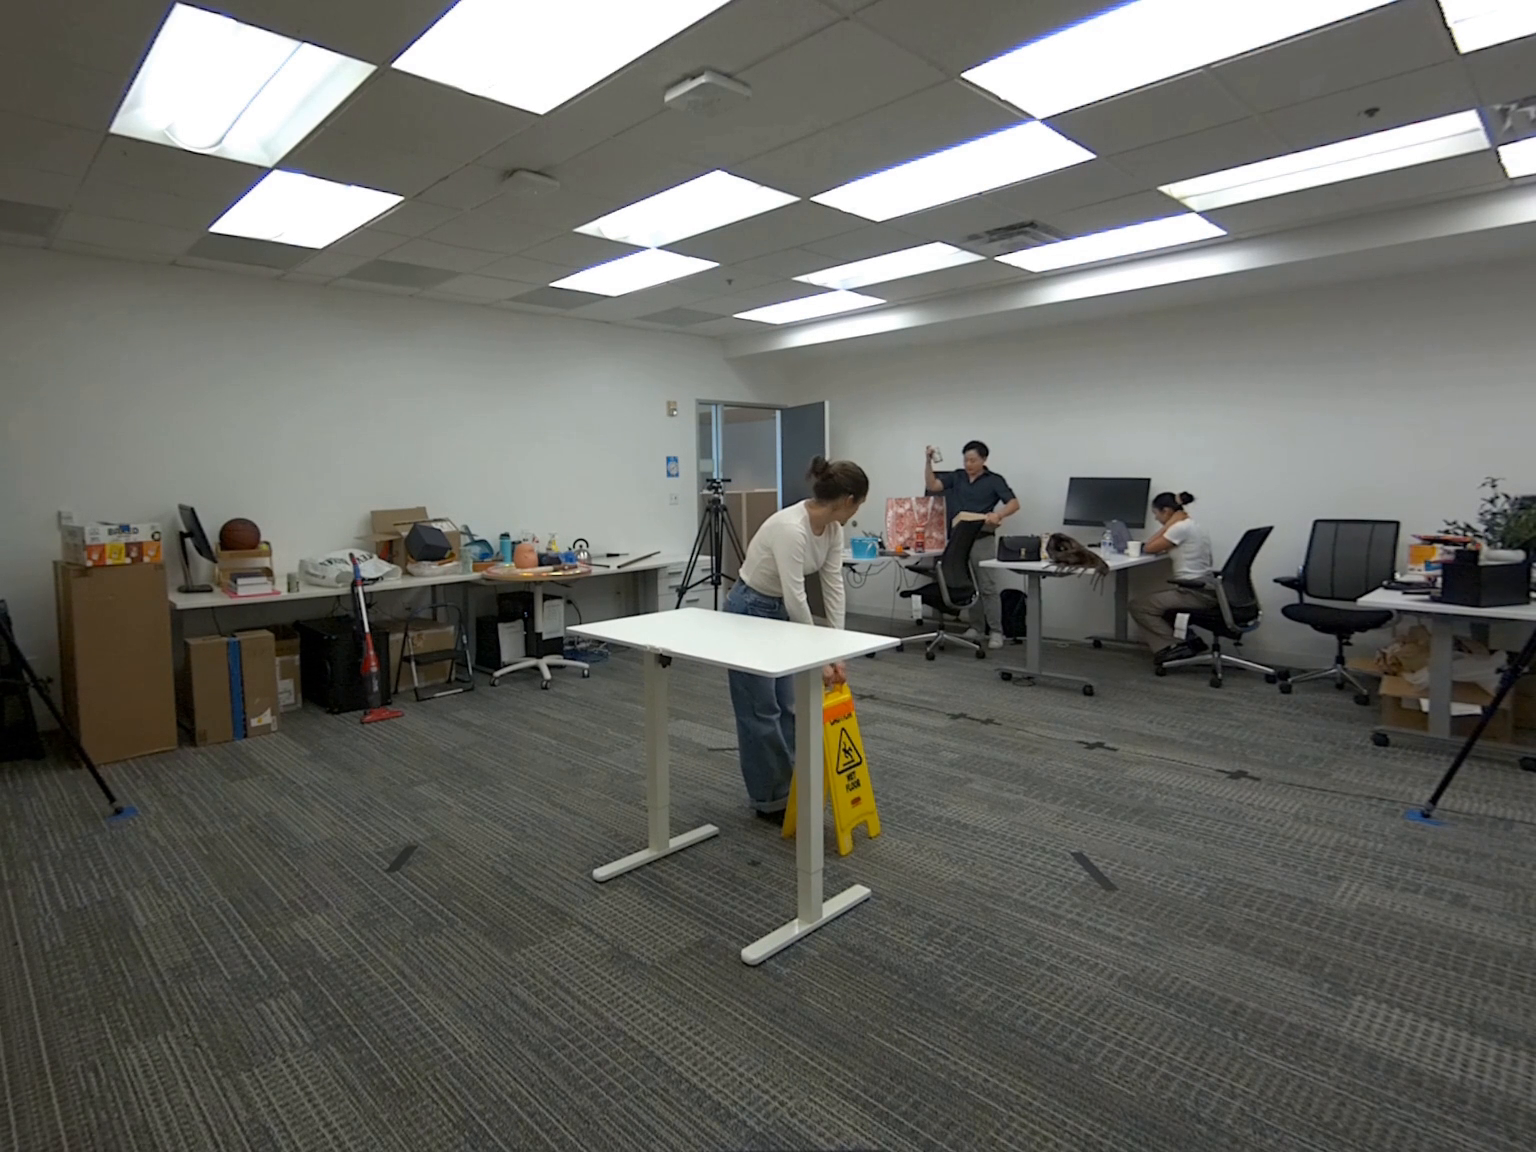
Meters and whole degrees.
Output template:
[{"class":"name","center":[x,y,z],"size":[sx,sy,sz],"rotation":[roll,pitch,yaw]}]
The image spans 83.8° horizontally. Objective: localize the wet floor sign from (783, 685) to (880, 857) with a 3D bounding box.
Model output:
[{"class":"wet floor sign","center":[0.238,0.689,3.322],"size":[0.298,0.644,0.275],"rotation":[1,4,40]}]
